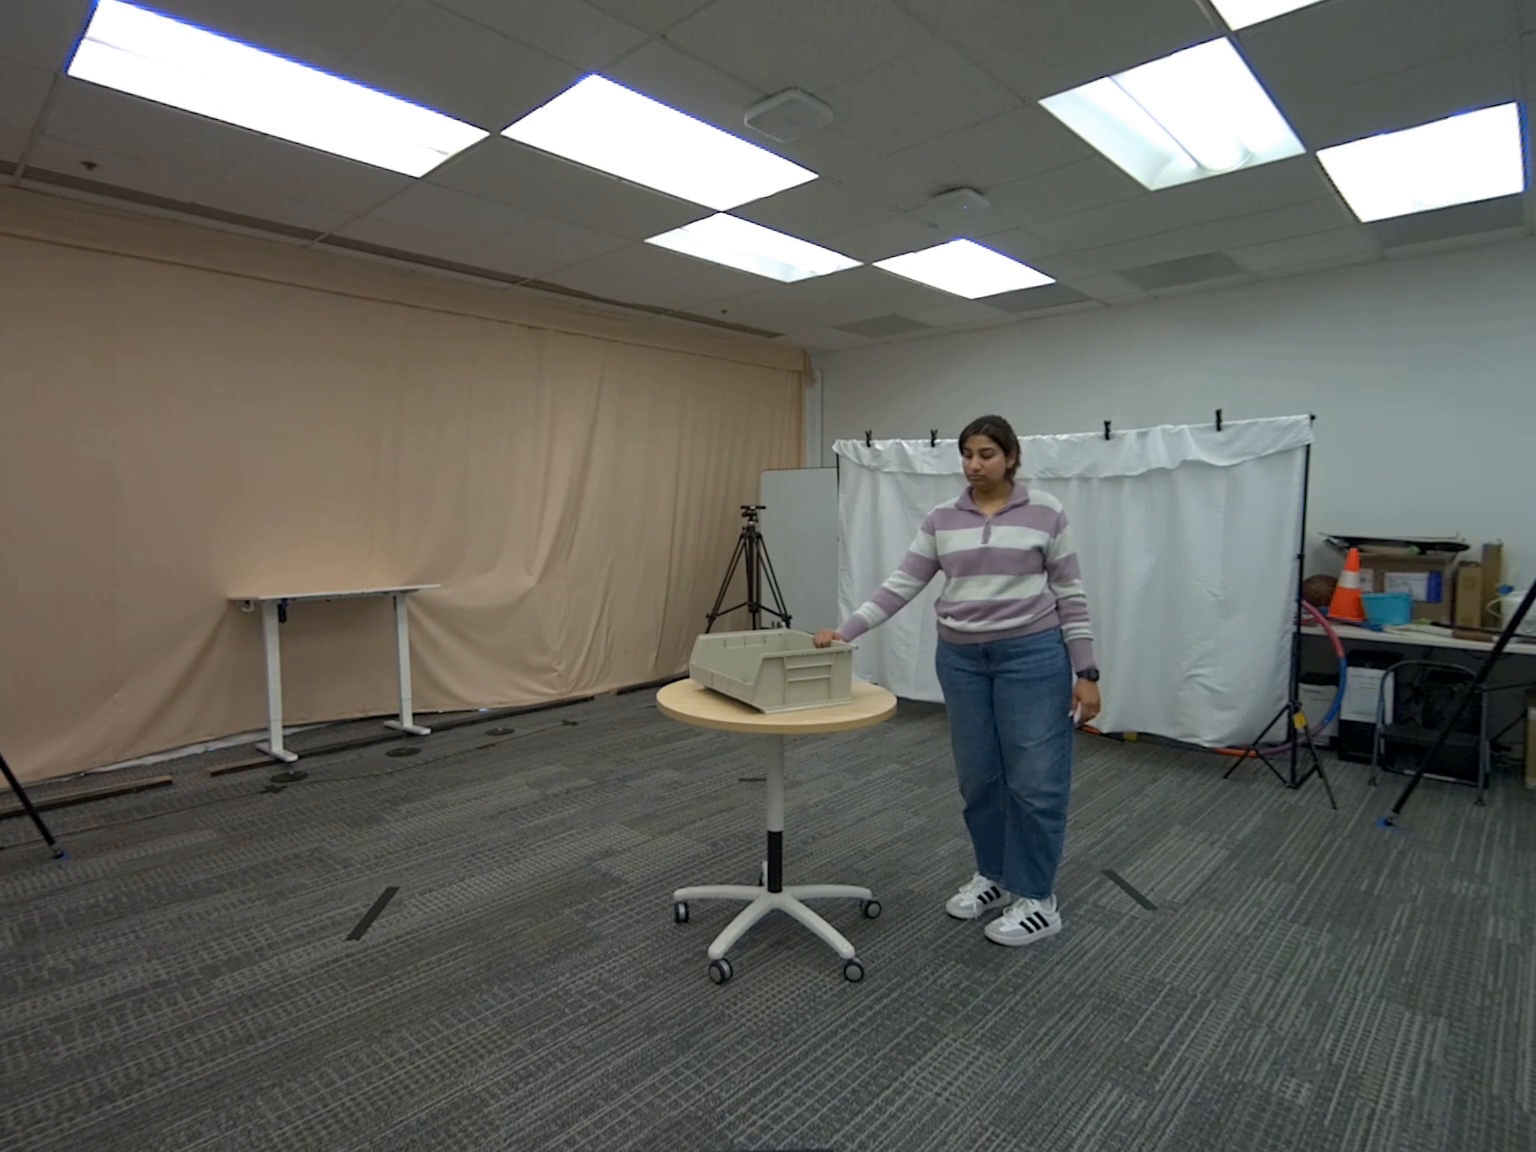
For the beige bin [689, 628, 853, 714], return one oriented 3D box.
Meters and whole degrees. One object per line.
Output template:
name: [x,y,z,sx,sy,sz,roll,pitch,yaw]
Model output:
beige bin: [0.011,0.298,2.687,0.367,0.189,0.434,-1,3,-29]
